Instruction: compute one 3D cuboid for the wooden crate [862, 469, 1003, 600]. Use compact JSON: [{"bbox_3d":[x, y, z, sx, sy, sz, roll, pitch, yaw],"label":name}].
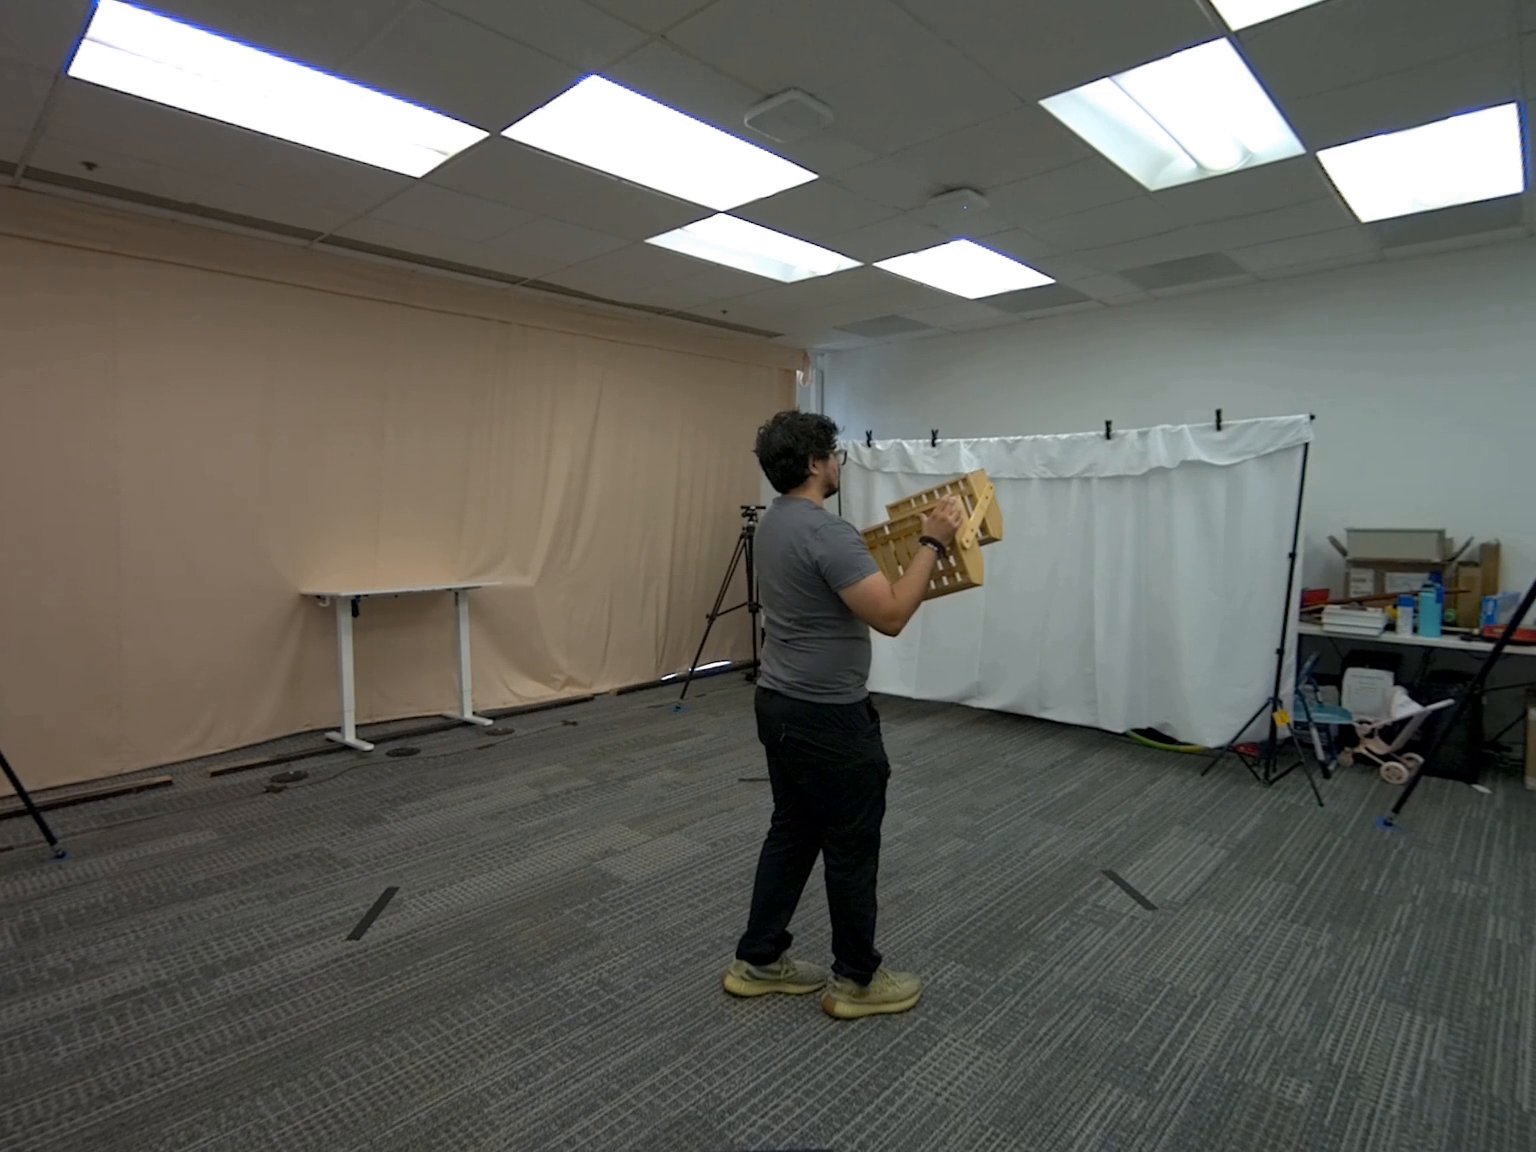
[{"bbox_3d":[0.495,-0.099,2.418,0.266,0.302,0.332,-19,-1,-44],"label":"wooden crate"}]
